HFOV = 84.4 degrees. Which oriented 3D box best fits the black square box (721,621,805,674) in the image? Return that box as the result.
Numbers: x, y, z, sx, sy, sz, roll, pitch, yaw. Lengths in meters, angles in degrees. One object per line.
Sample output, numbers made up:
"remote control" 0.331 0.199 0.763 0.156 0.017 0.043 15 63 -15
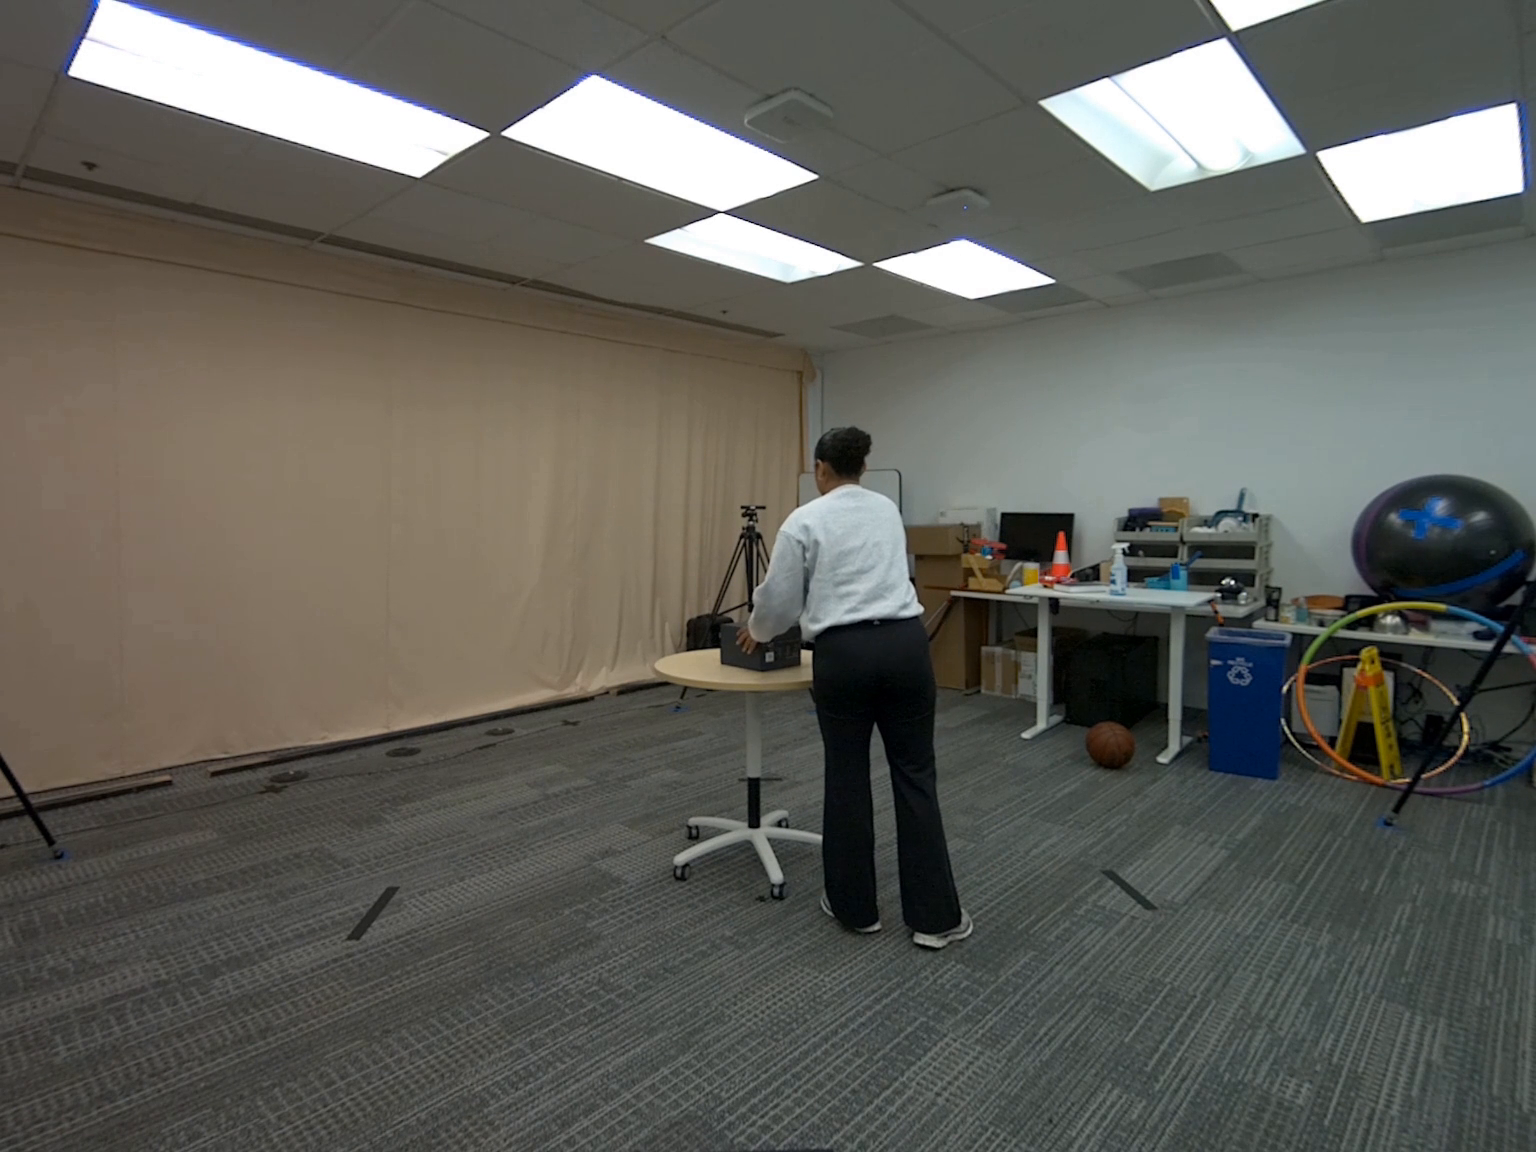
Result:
"black square box" -0.023 0.261 3.221 0.210 0.155 0.235 -3 5 -42
